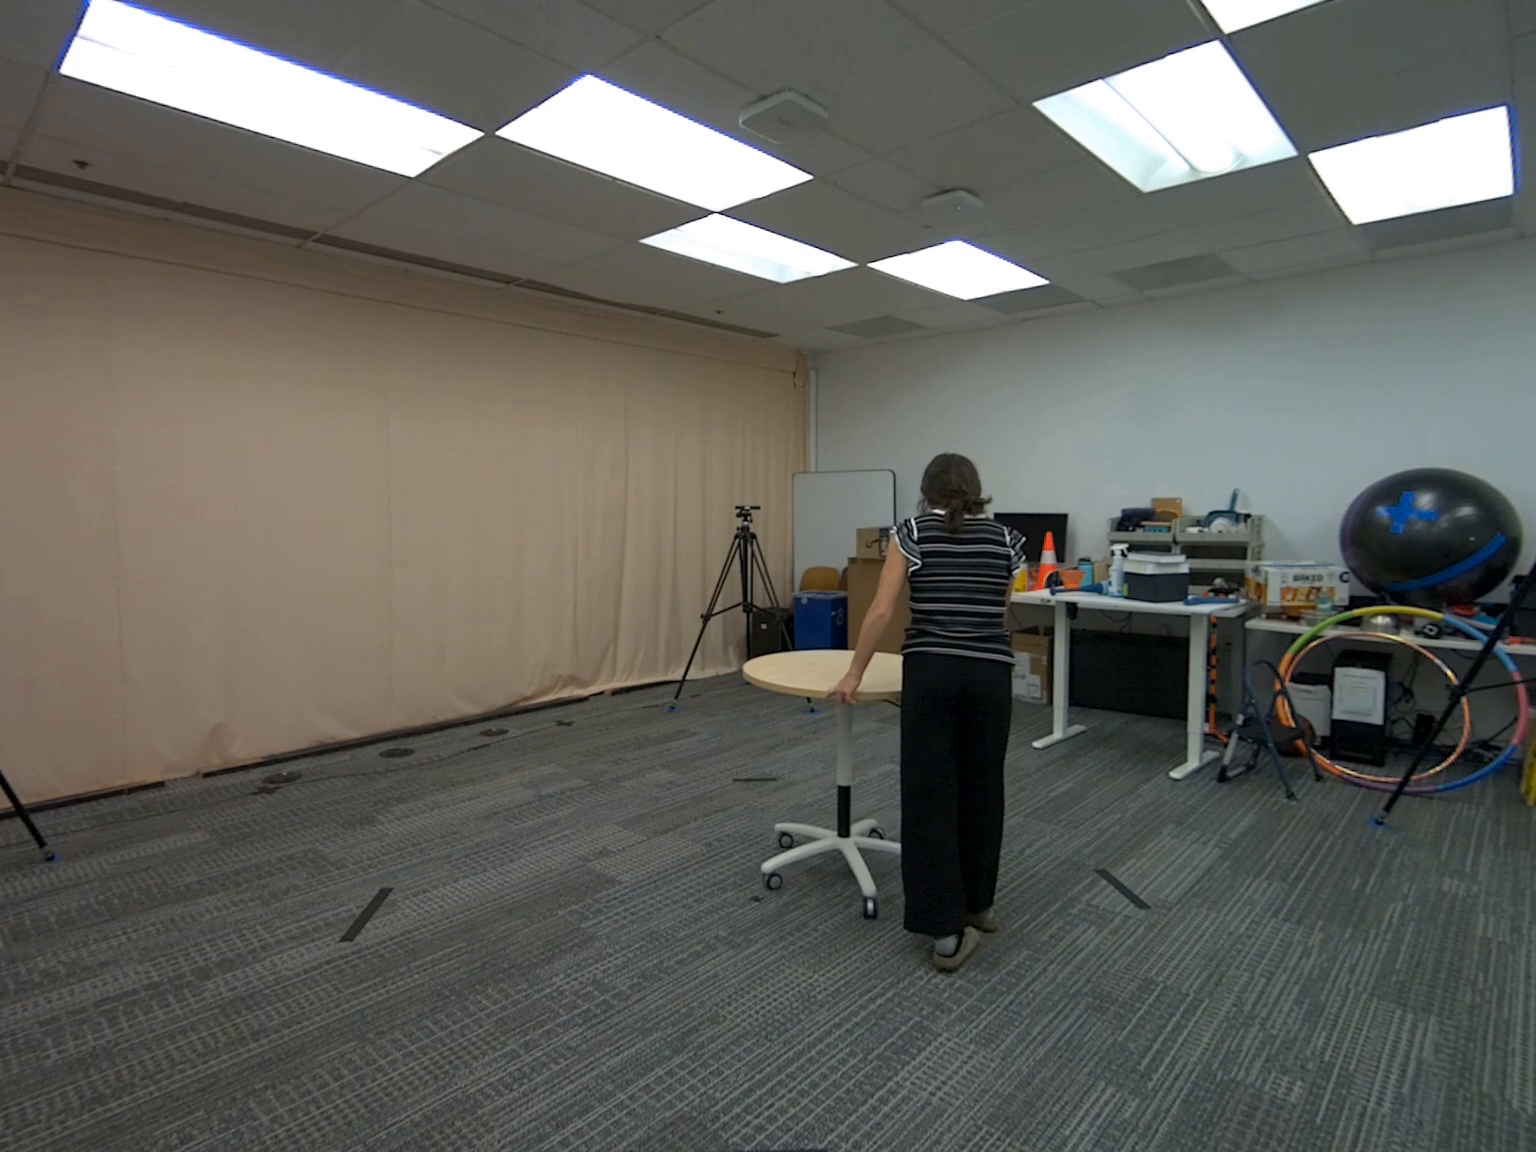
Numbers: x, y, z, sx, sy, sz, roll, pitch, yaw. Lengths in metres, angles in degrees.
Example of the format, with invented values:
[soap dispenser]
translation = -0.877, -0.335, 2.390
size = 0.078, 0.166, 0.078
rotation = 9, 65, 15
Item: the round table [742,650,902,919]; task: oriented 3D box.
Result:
[round table]
translation = 0.286, 0.739, 3.176
size = 0.763, 0.792, 0.767
rotation = 0, 4, -2
